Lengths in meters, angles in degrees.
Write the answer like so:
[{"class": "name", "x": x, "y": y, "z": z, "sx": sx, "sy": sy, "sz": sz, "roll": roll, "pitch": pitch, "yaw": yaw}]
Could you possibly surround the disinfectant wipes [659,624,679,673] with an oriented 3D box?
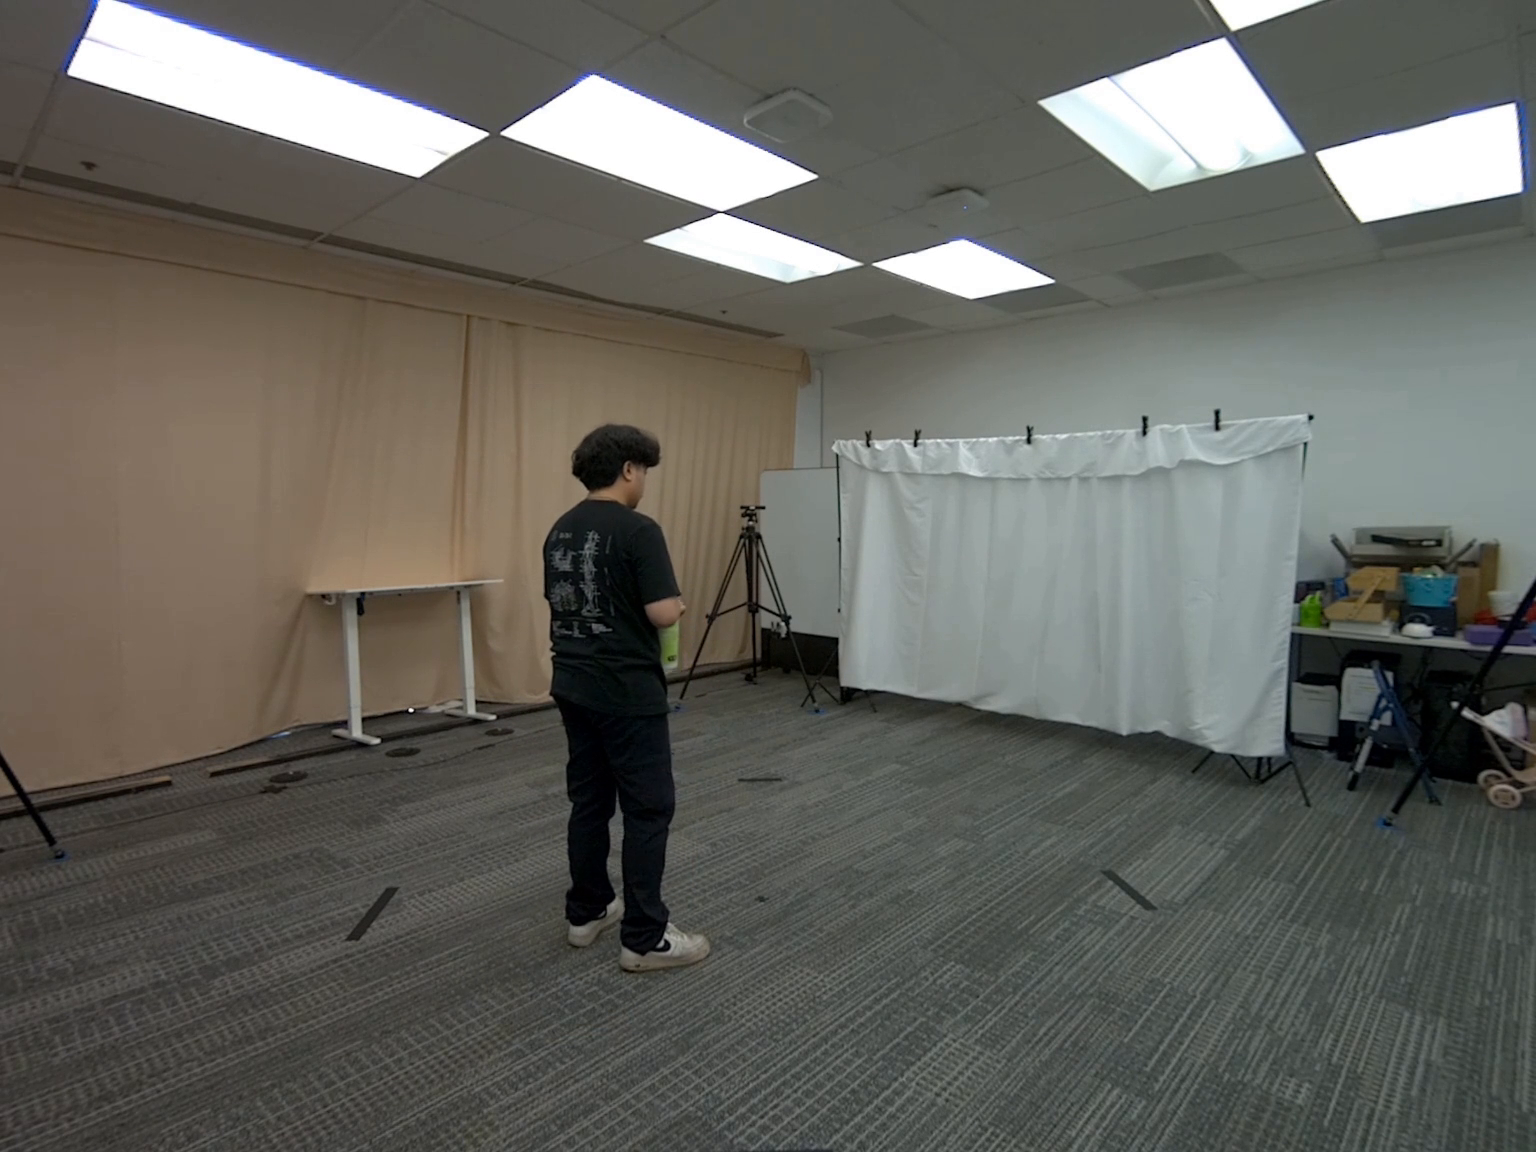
[{"class": "disinfectant wipes", "x": -0.362, "y": 0.209, "z": 2.898, "sx": 0.117, "sy": 0.216, "sz": 0.118, "roll": 1, "pitch": 8, "yaw": -2}]
